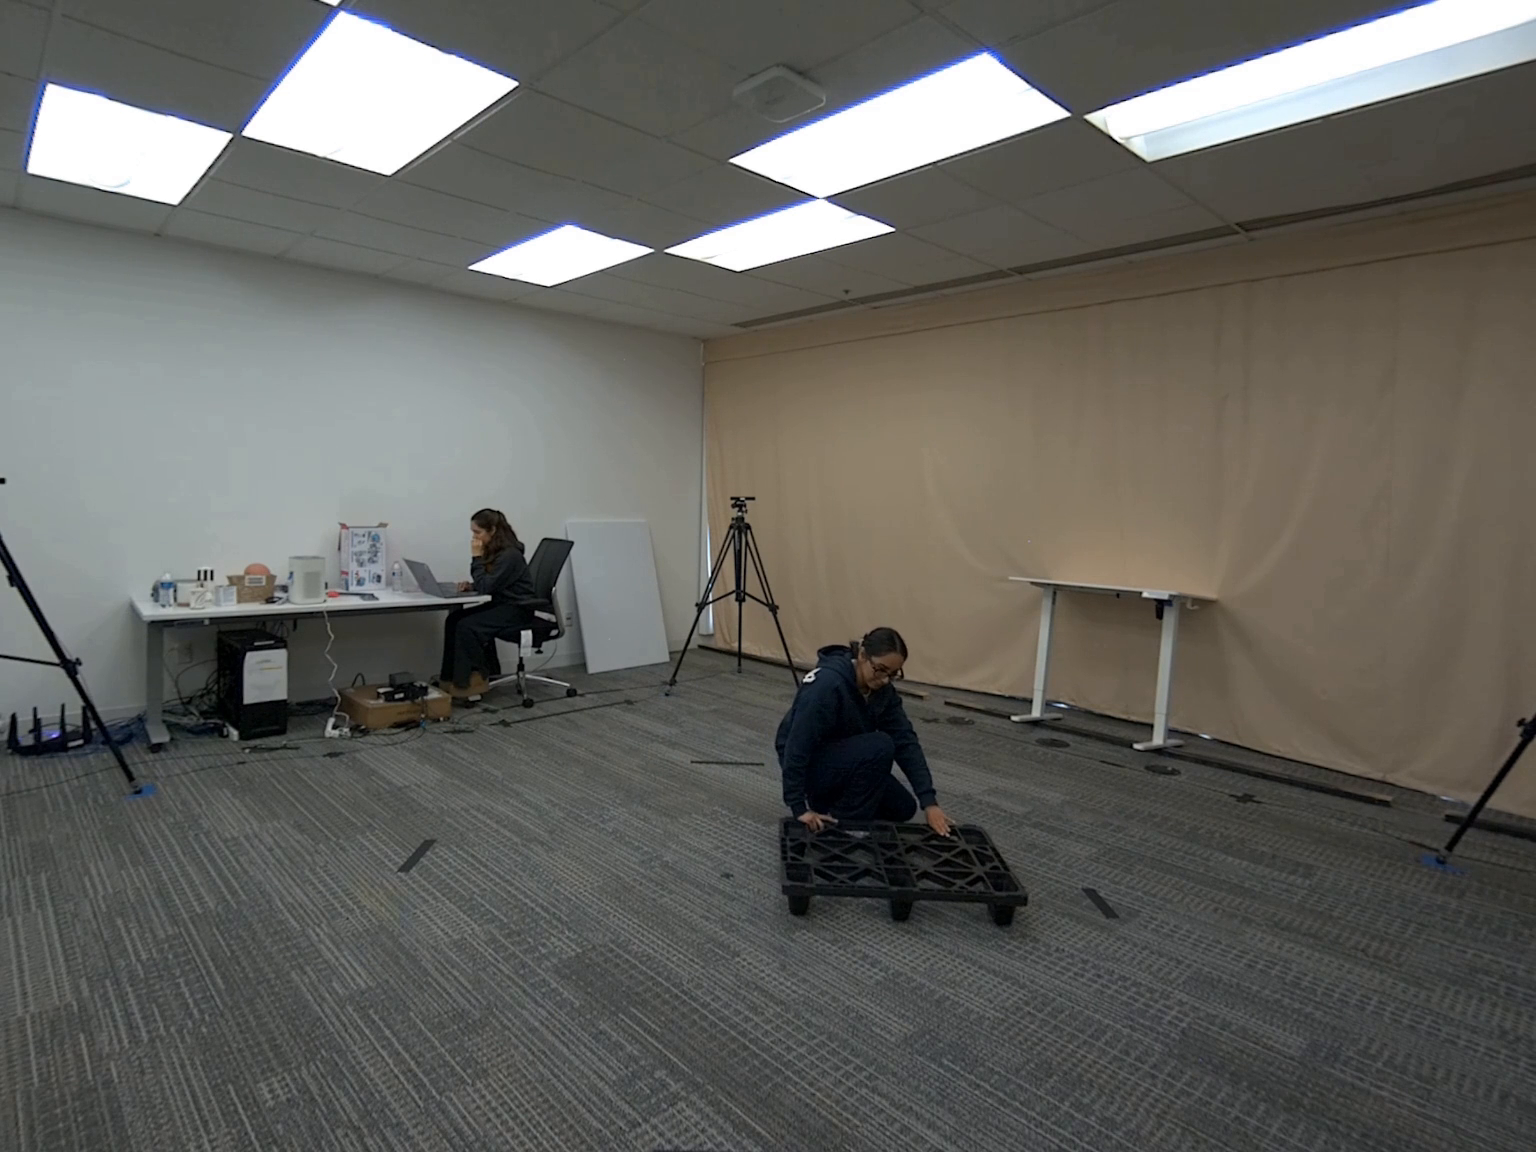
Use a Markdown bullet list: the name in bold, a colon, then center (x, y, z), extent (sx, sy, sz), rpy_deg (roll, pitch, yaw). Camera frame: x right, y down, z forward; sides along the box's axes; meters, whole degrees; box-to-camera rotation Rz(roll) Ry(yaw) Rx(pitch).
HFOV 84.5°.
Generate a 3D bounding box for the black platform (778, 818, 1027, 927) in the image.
- **black platform**: center (0.426, 1.058, 3.037), extent (0.807, 0.143, 0.606), rpy_deg (2, 4, 1)
